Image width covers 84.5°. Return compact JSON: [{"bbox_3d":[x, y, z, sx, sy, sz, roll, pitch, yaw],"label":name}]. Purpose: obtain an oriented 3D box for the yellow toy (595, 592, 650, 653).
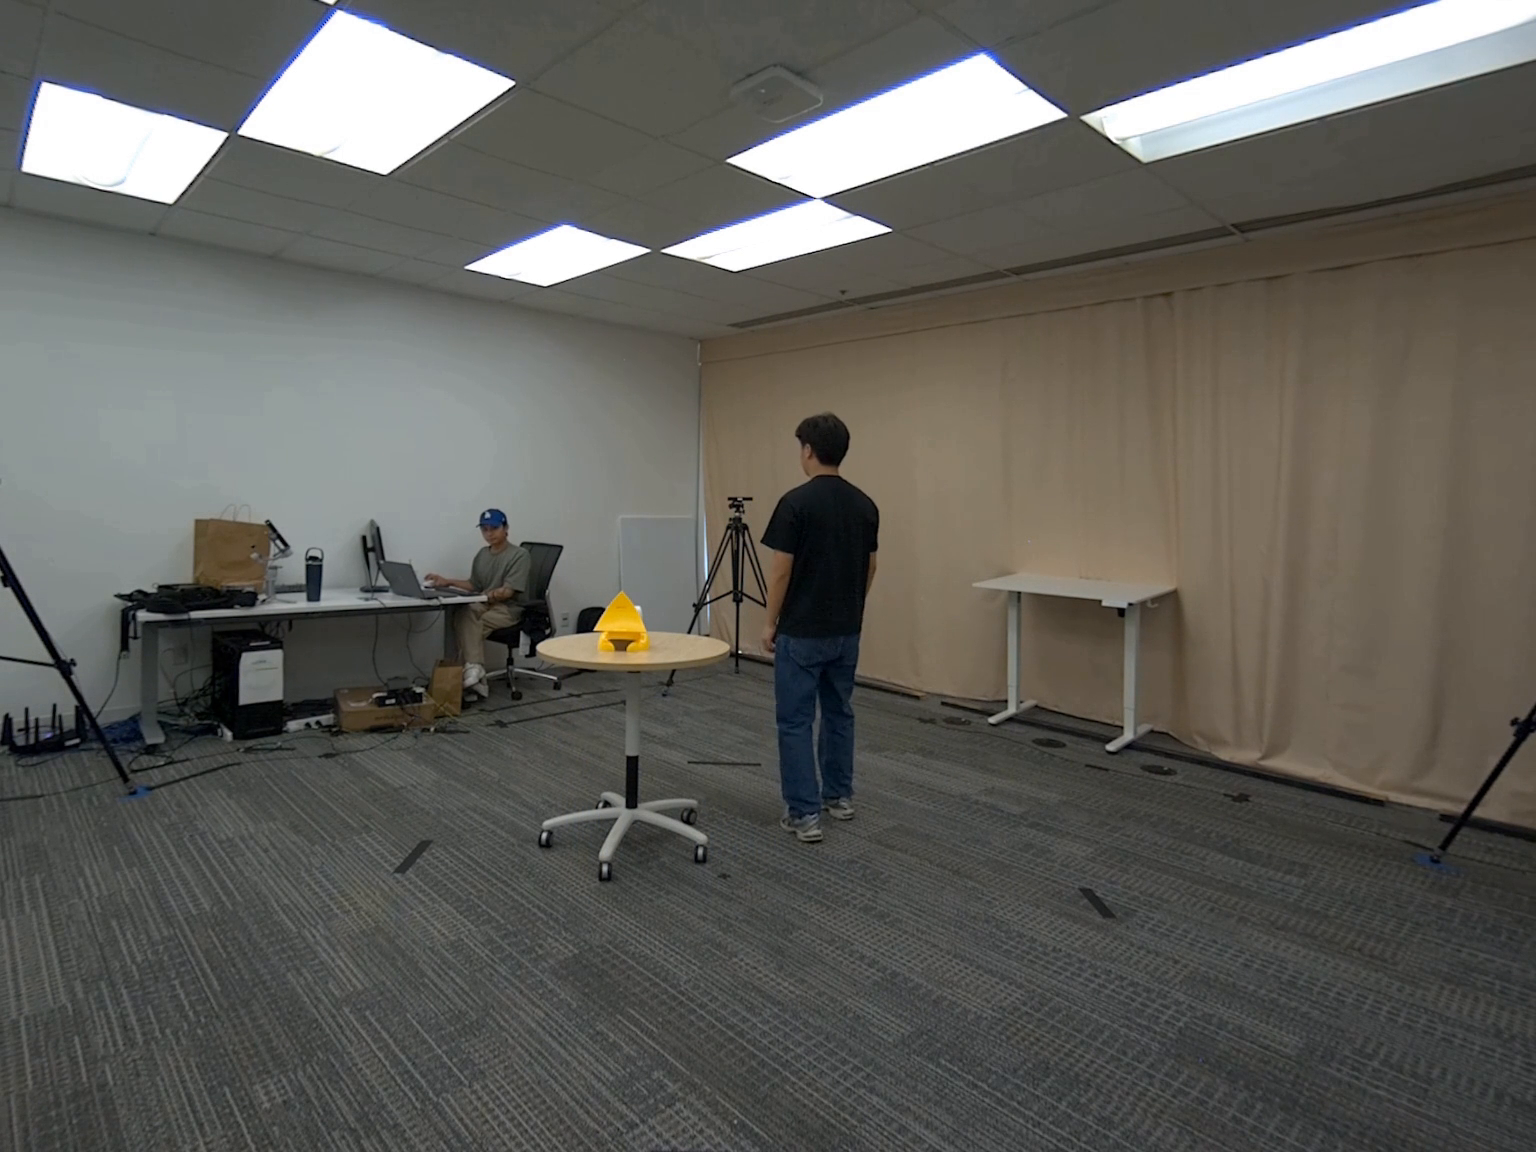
[{"bbox_3d":[-0.572,0.168,3.301,0.205,0.230,0.193,2,4,1],"label":"yellow toy"}]
